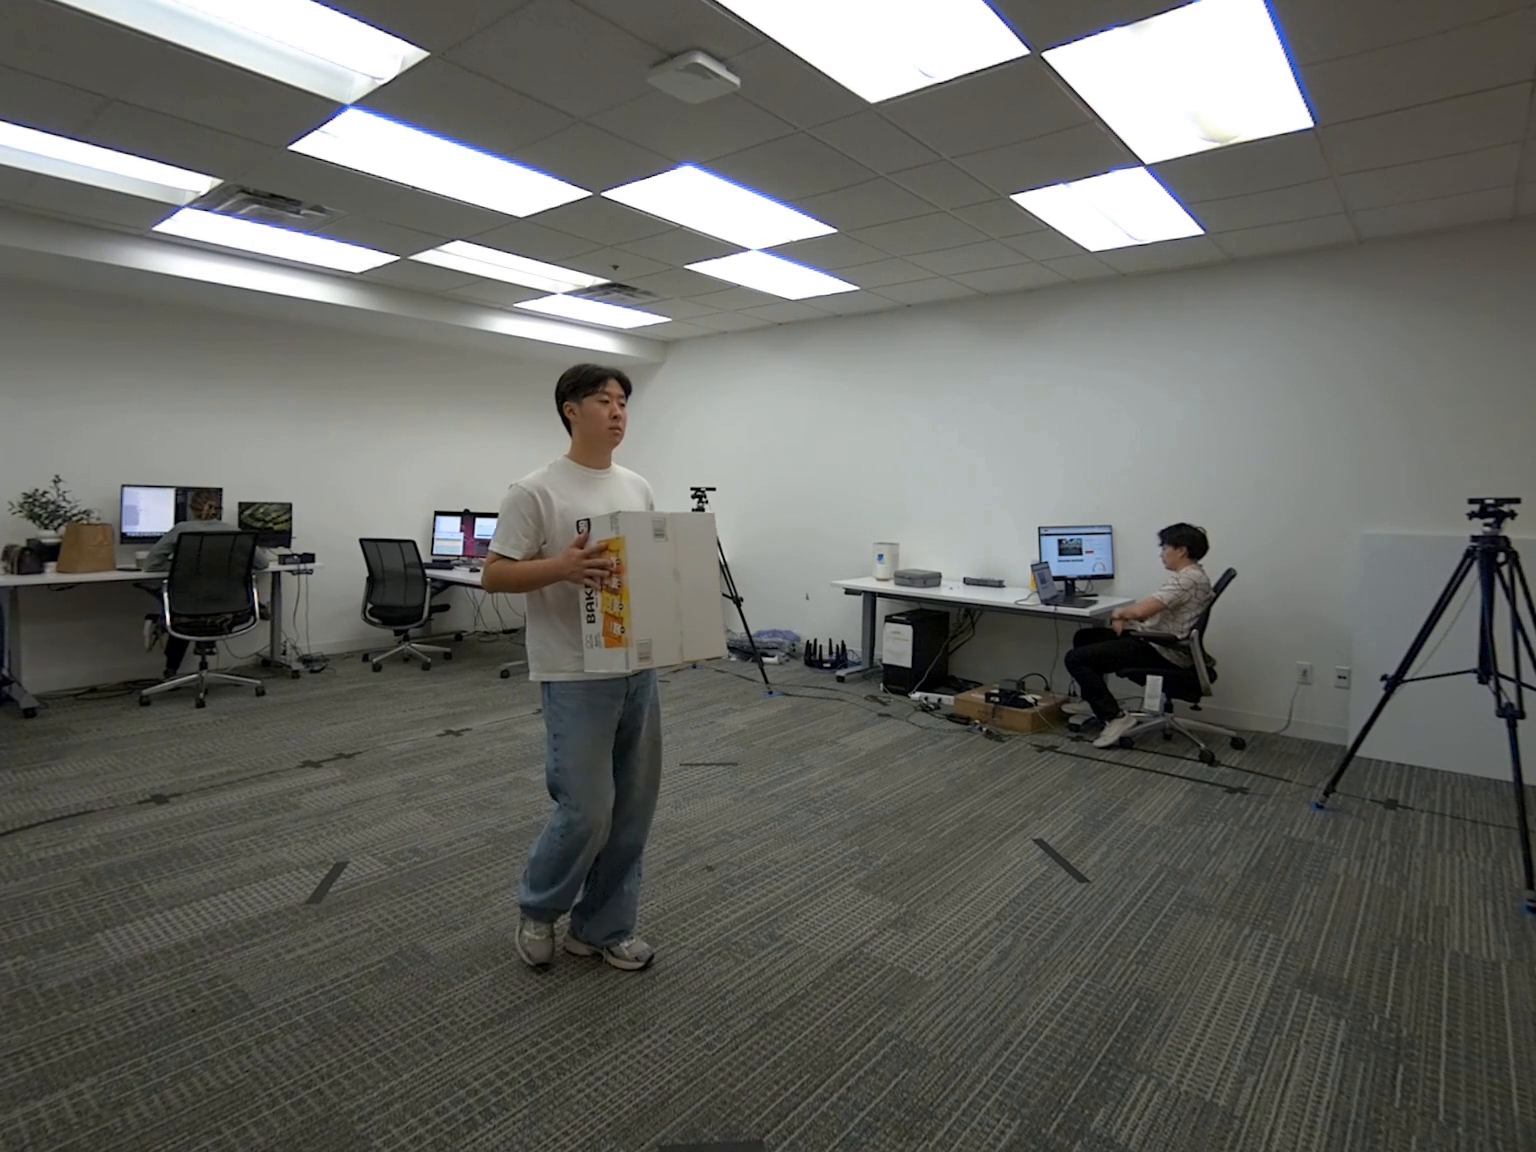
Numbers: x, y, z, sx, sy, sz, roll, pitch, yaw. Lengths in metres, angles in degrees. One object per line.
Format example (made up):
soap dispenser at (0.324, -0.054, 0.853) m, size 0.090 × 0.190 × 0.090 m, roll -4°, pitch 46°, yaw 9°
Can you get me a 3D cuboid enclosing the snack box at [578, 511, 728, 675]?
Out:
snack box at (-0.326, 0.040, 2.295) m, size 0.211 × 0.407 × 0.330 m, roll -8°, pitch -4°, yaw 43°
